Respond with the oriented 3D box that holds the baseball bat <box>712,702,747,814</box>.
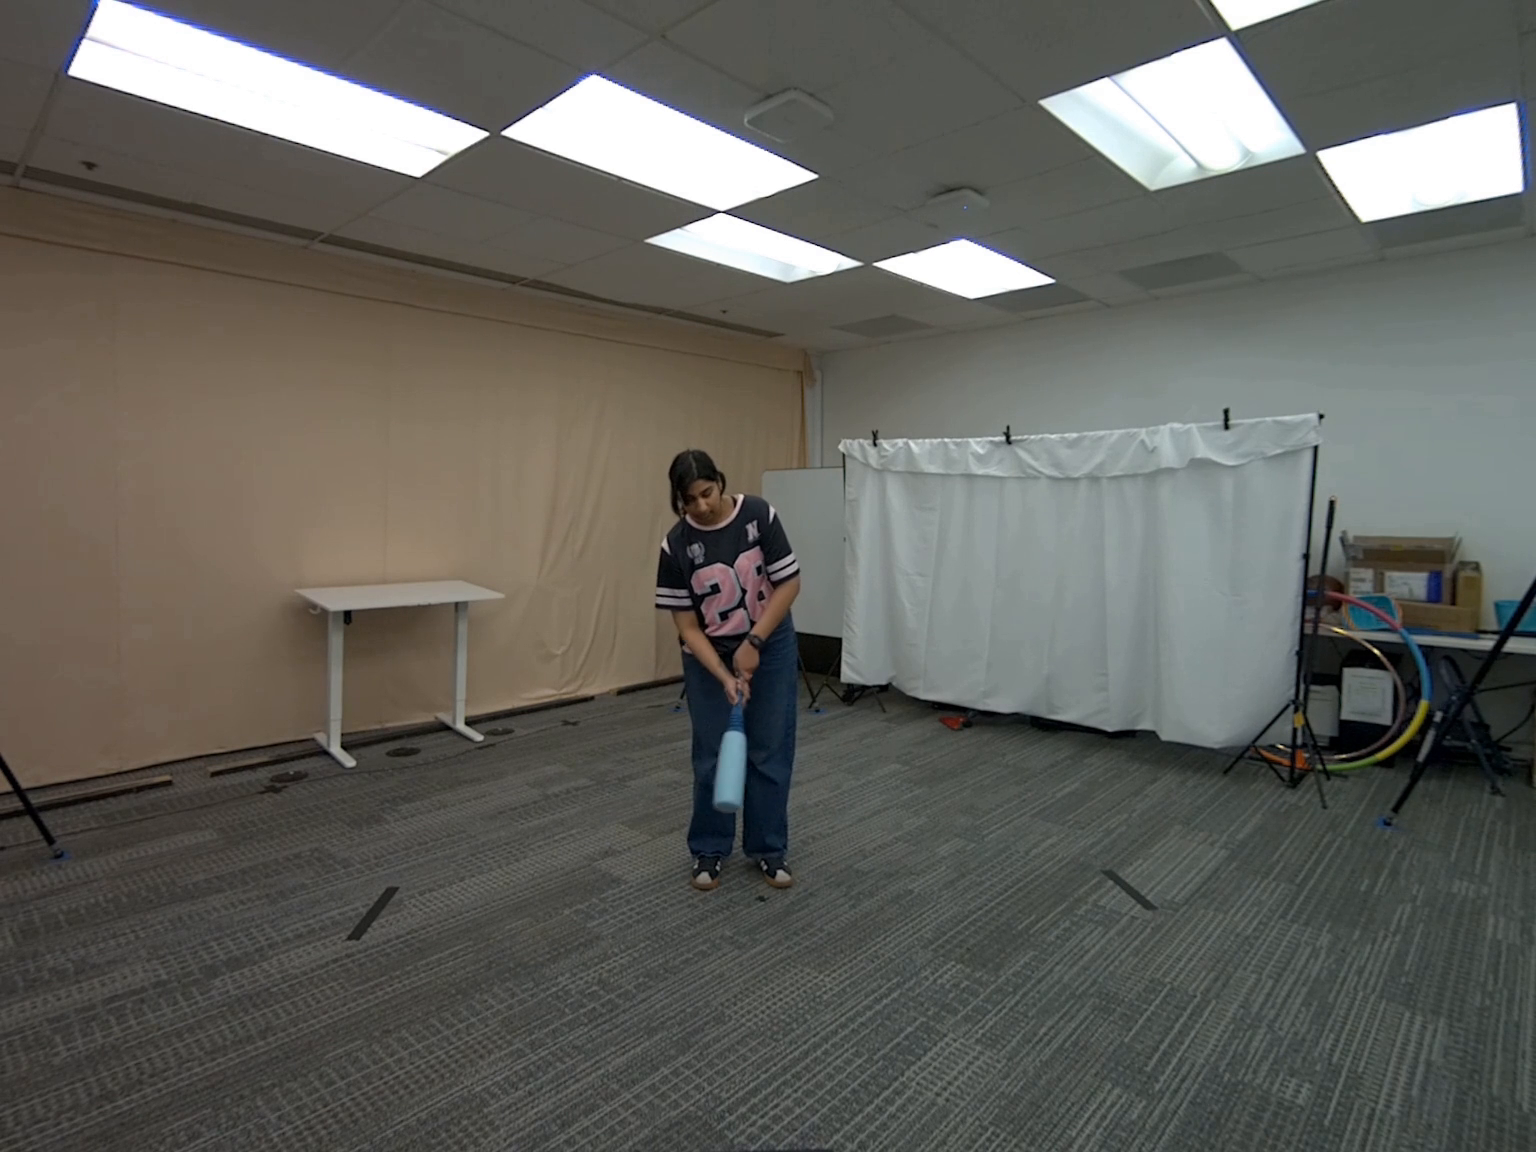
[{"bbox_3d":[-0.111,0.486,2.774,0.089,0.550,0.087,5,-41,2],"label":"baseball bat"}]
